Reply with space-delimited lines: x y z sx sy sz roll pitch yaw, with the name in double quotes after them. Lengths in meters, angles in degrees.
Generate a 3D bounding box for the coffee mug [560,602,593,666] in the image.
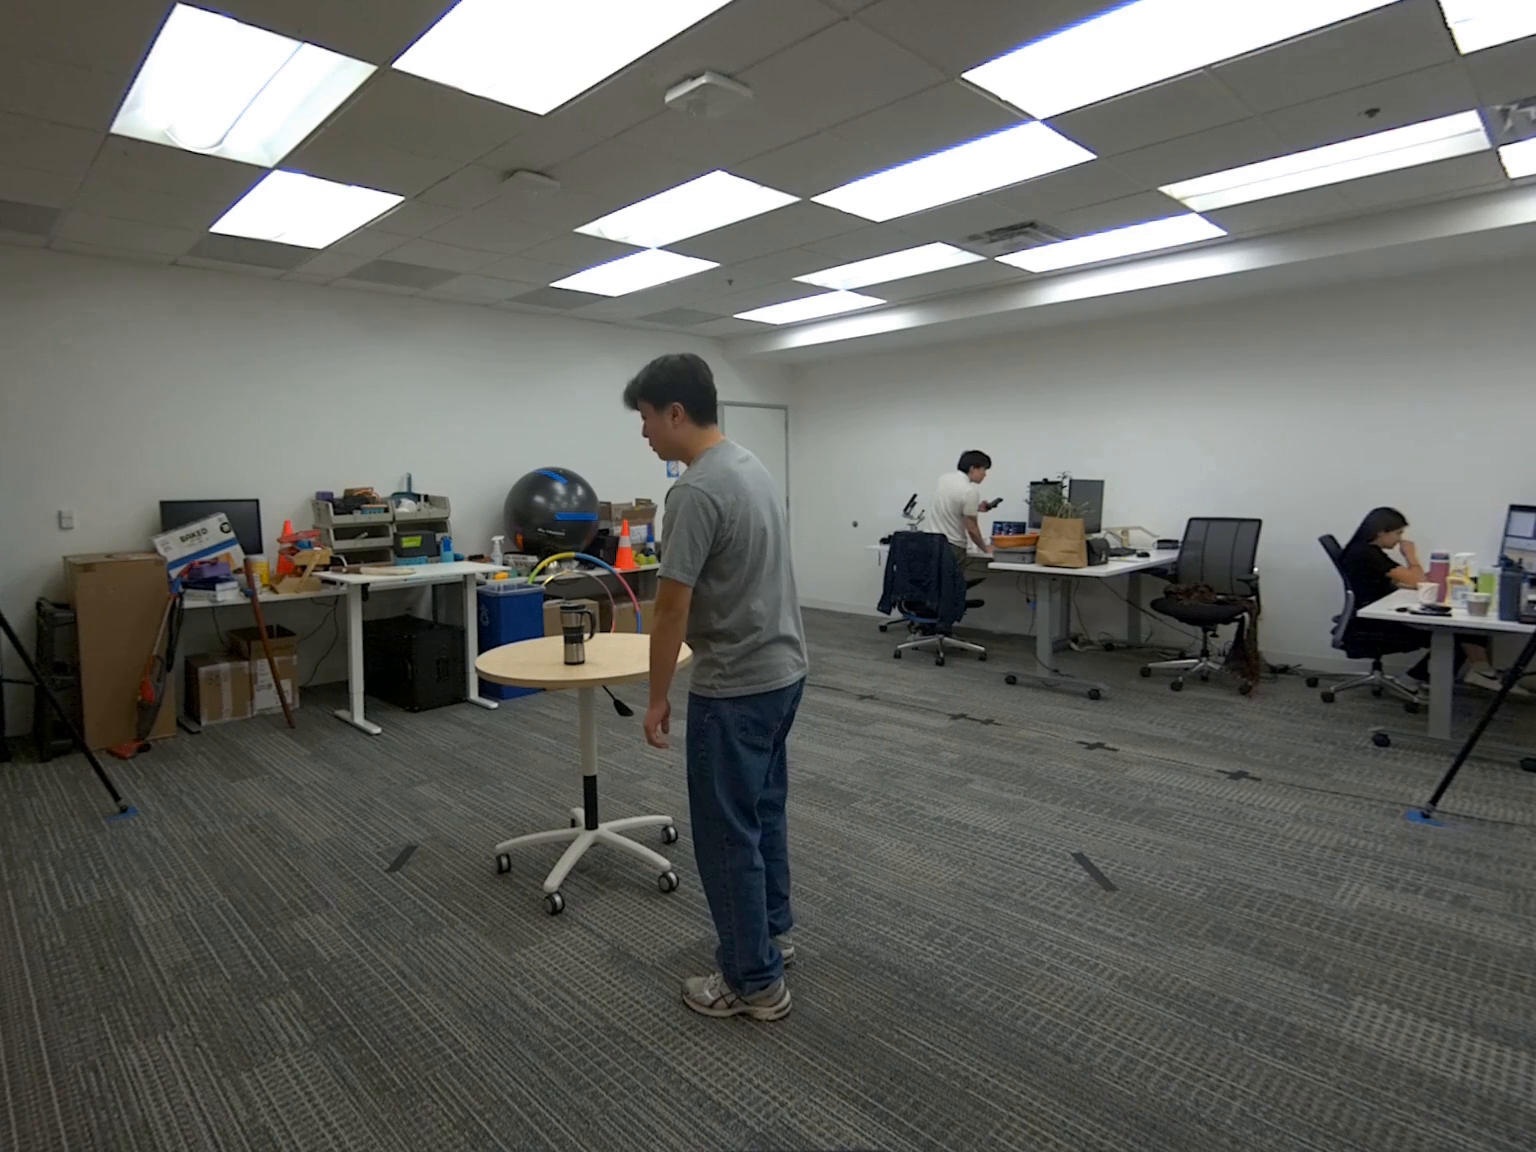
-0.647 0.201 2.888 0.085 0.203 0.125 -2 0 -43 "coffee mug"
